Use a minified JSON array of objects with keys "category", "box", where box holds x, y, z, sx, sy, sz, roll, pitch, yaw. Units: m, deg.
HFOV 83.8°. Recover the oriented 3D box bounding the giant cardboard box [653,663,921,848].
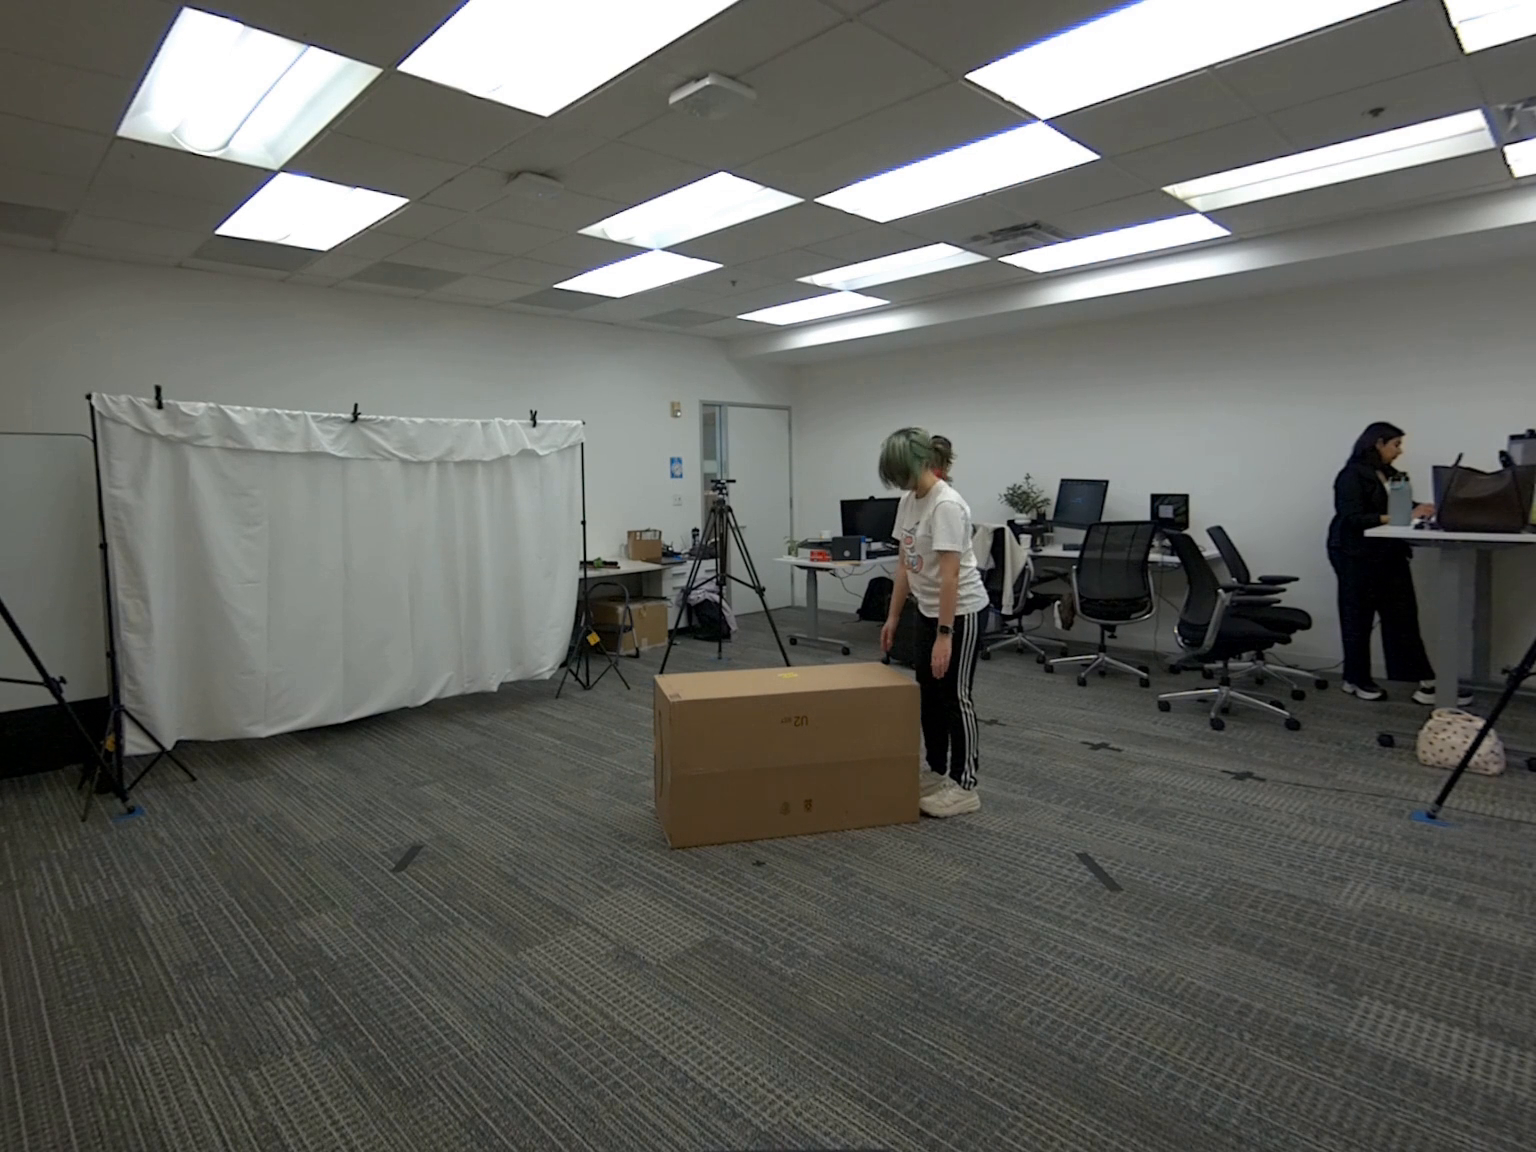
[{"category":"giant cardboard box","box":[0.066,0.707,3.533,1.014,0.582,0.454,-2,4,-14]}]
